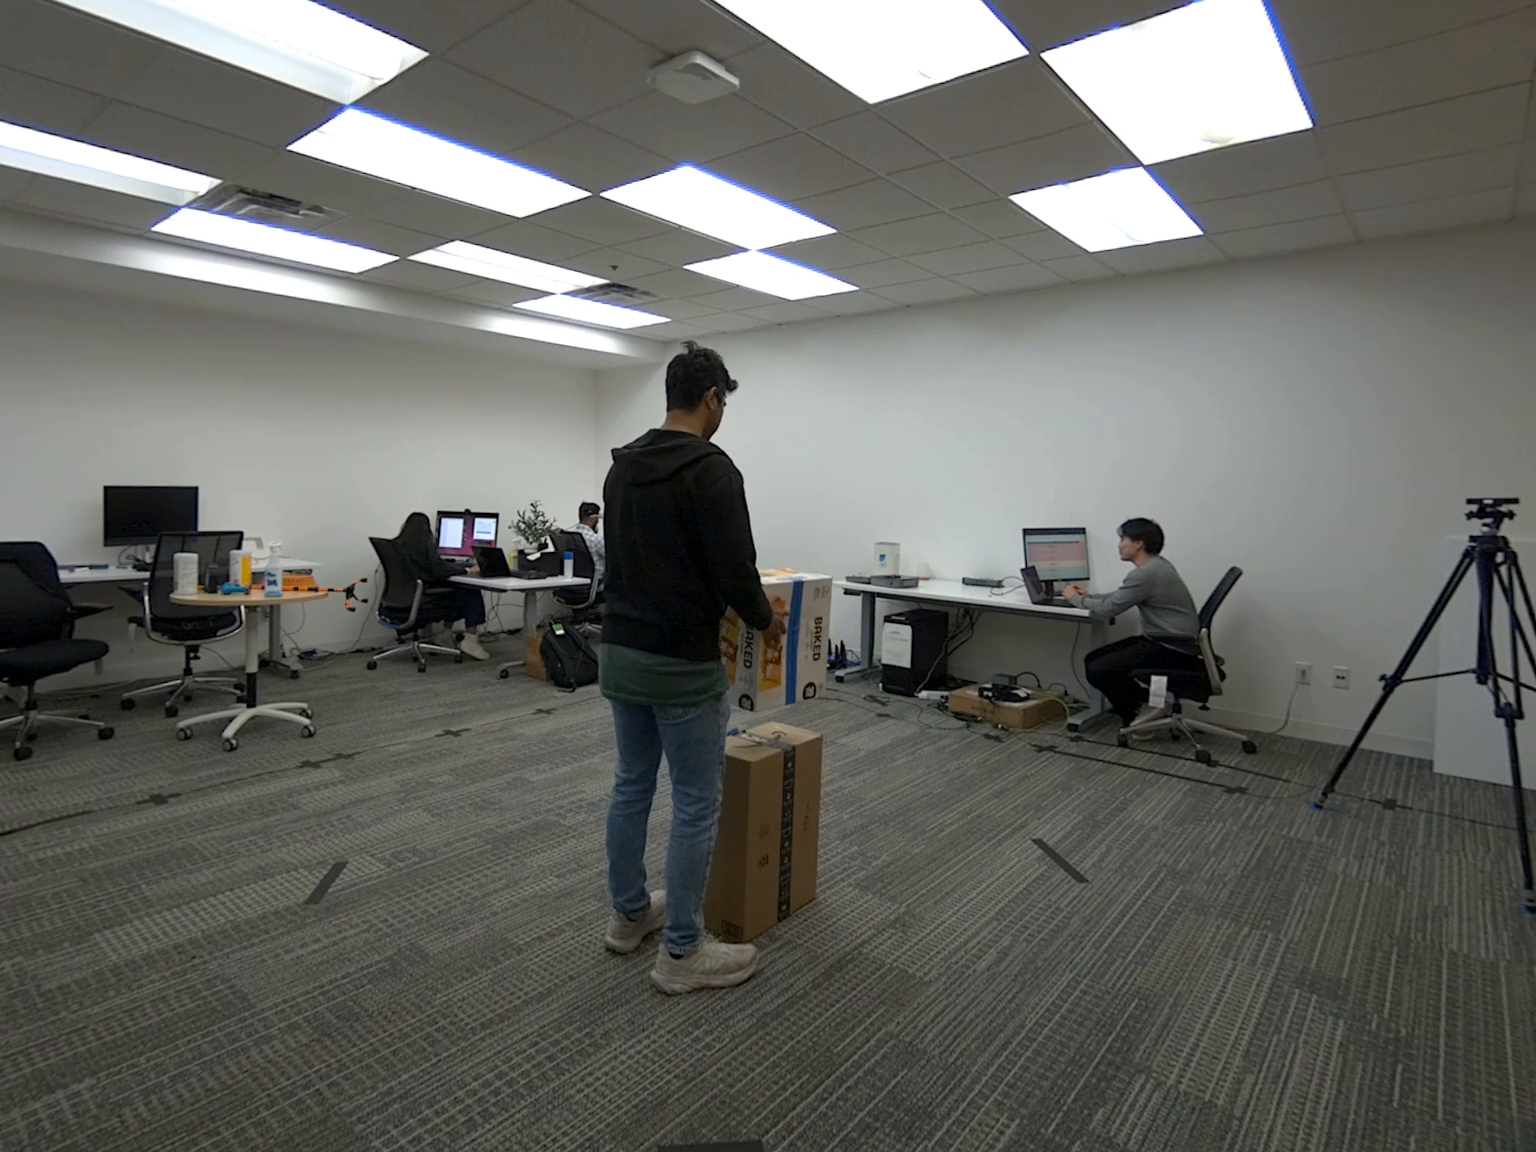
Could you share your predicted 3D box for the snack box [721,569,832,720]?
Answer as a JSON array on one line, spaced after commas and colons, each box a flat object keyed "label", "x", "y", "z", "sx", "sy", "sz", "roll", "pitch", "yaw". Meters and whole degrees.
[{"label": "snack box", "x": 0.005, "y": 0.194, "z": 2.775, "sx": 0.213, "sy": 0.403, "sz": 0.330, "roll": 9, "pitch": 8, "yaw": 44}]
